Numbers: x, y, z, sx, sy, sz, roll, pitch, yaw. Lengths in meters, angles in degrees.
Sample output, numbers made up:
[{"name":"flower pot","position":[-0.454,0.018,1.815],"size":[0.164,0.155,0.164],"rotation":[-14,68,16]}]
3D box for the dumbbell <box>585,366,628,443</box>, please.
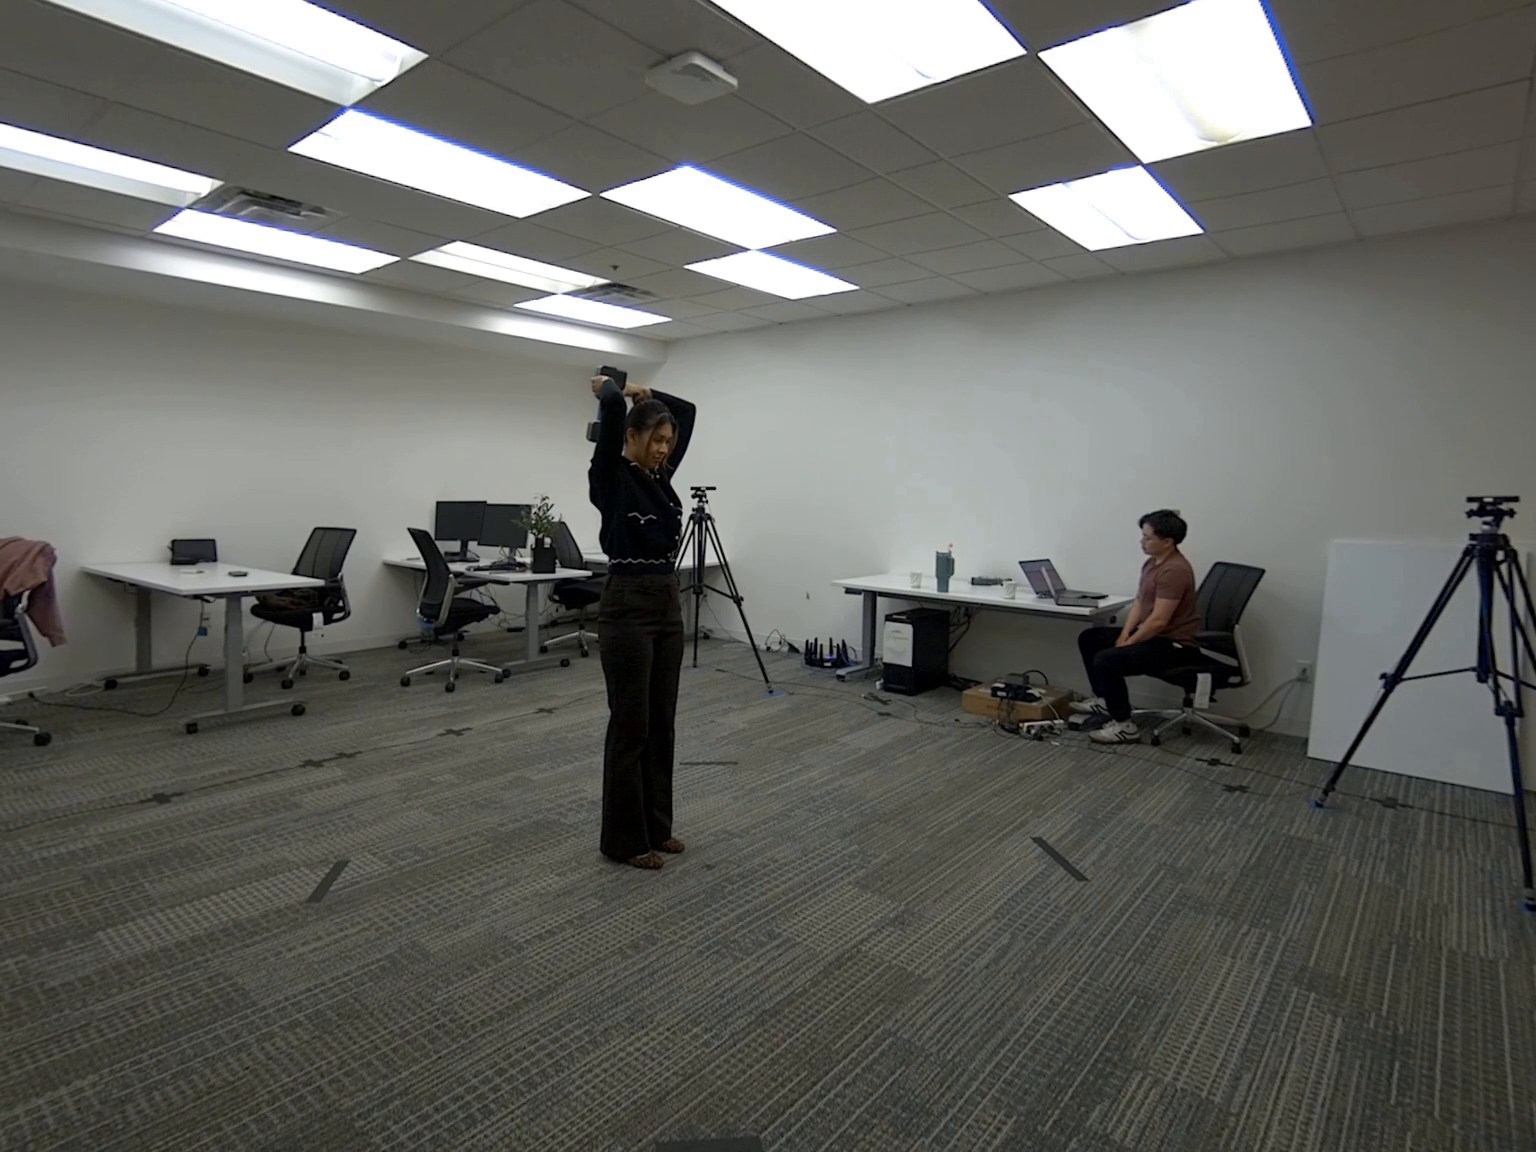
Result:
[{"name":"dumbbell","position":[-0.626,-0.657,3.260],"size":[0.123,0.291,0.109],"rotation":[11,9,1]}]
